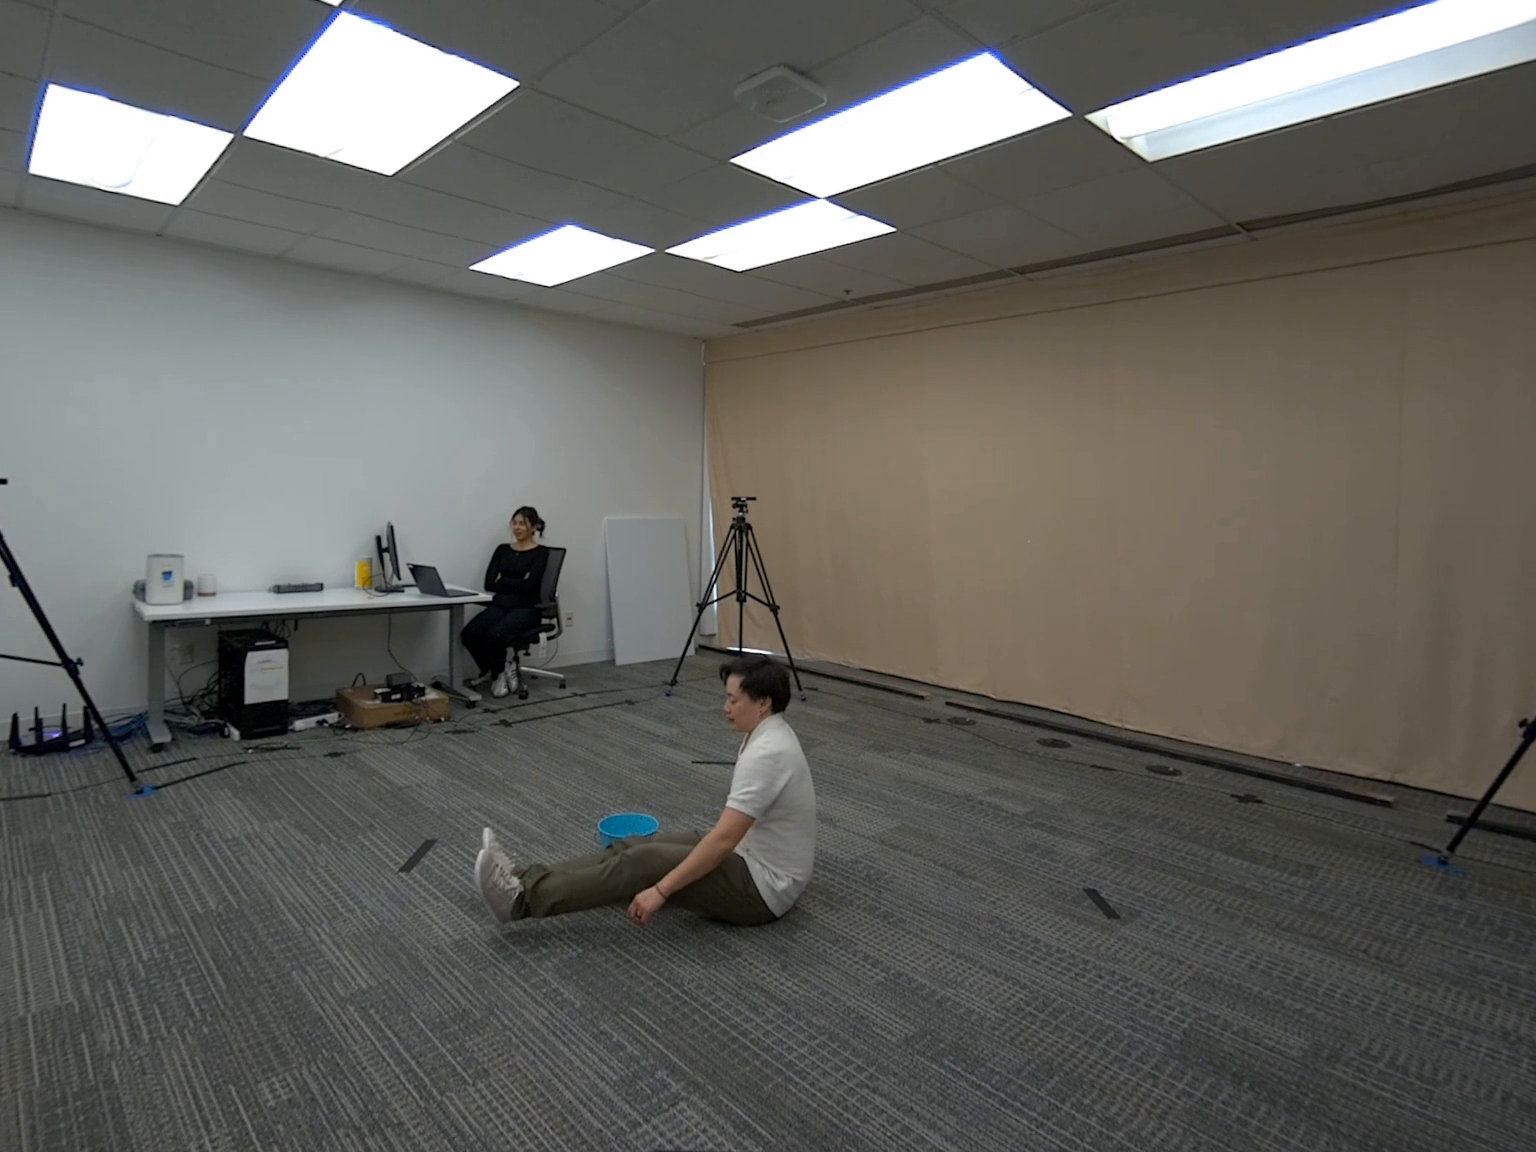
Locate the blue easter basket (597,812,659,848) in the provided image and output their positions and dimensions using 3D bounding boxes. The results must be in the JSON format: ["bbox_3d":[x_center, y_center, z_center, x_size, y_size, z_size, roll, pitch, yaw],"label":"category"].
[{"bbox_3d":[-0.527,1.006,3.180,0.243,0.155,0.244,2,5,-2],"label":"blue easter basket"}]
